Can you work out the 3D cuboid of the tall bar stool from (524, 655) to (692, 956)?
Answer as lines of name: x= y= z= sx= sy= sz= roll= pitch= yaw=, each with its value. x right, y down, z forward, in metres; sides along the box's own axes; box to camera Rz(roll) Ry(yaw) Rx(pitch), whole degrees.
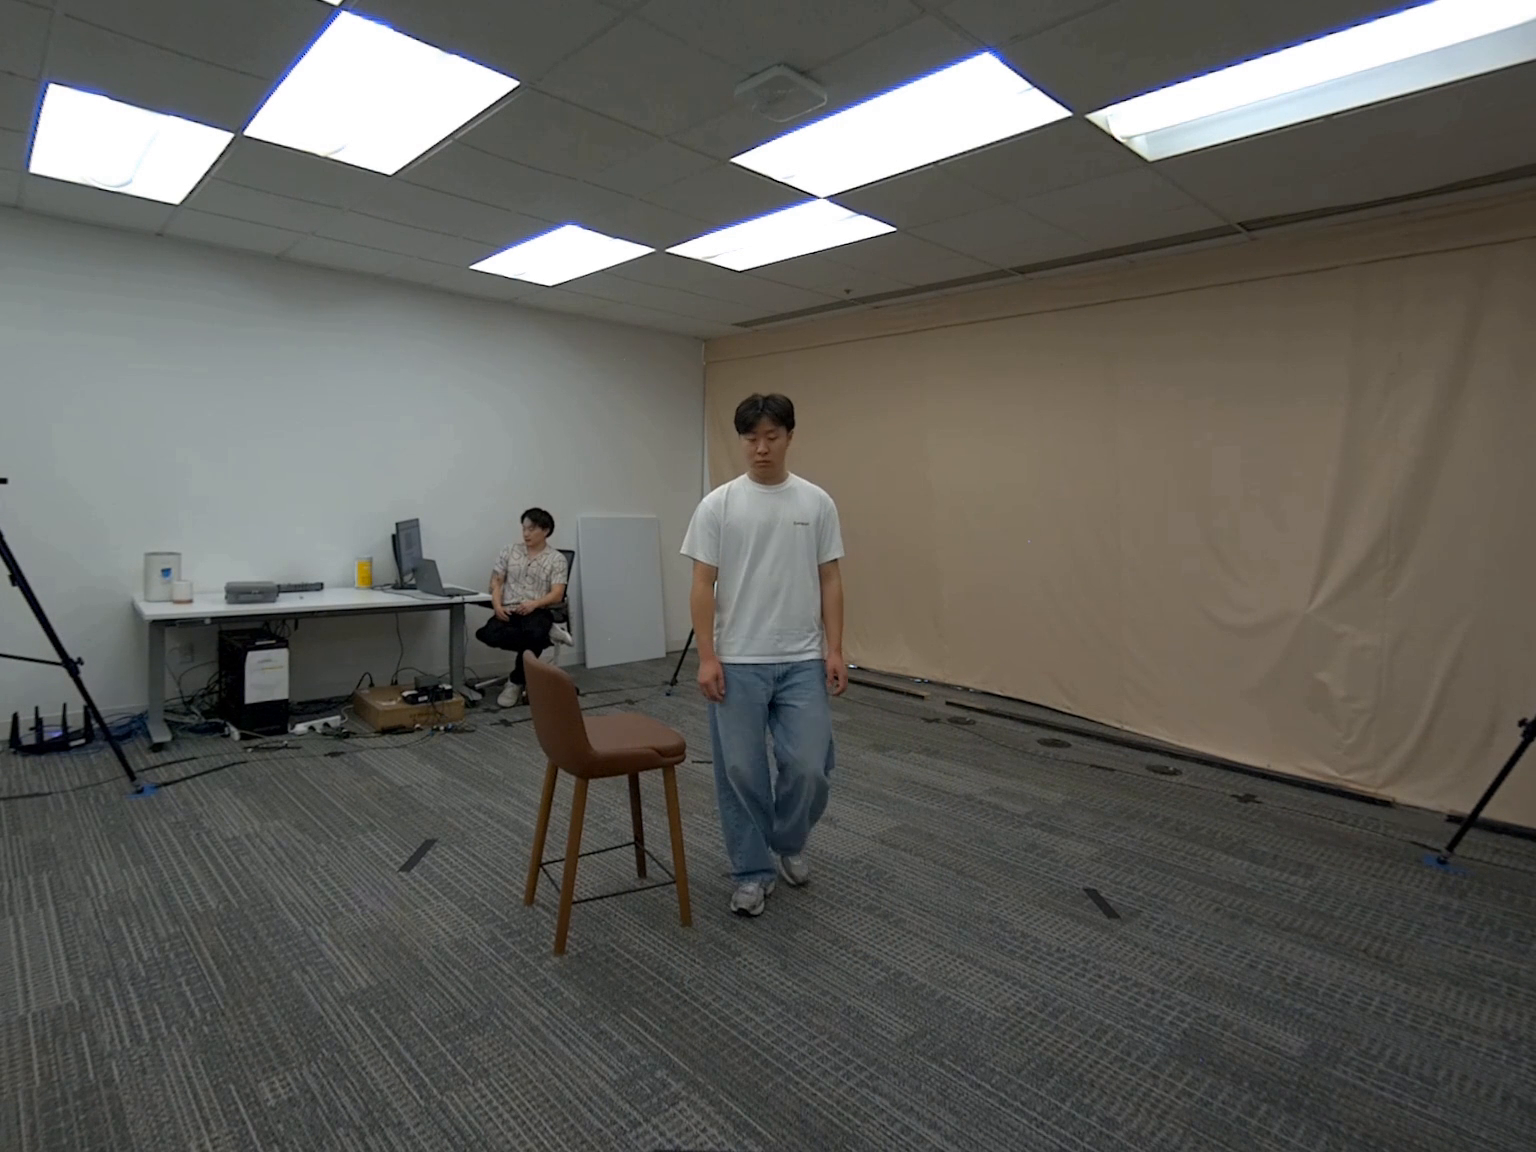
tall bar stool: x=-0.539 y=0.689 z=2.773 sx=0.458 sy=0.887 sz=0.467 roll=-3 pitch=5 yaw=-30
